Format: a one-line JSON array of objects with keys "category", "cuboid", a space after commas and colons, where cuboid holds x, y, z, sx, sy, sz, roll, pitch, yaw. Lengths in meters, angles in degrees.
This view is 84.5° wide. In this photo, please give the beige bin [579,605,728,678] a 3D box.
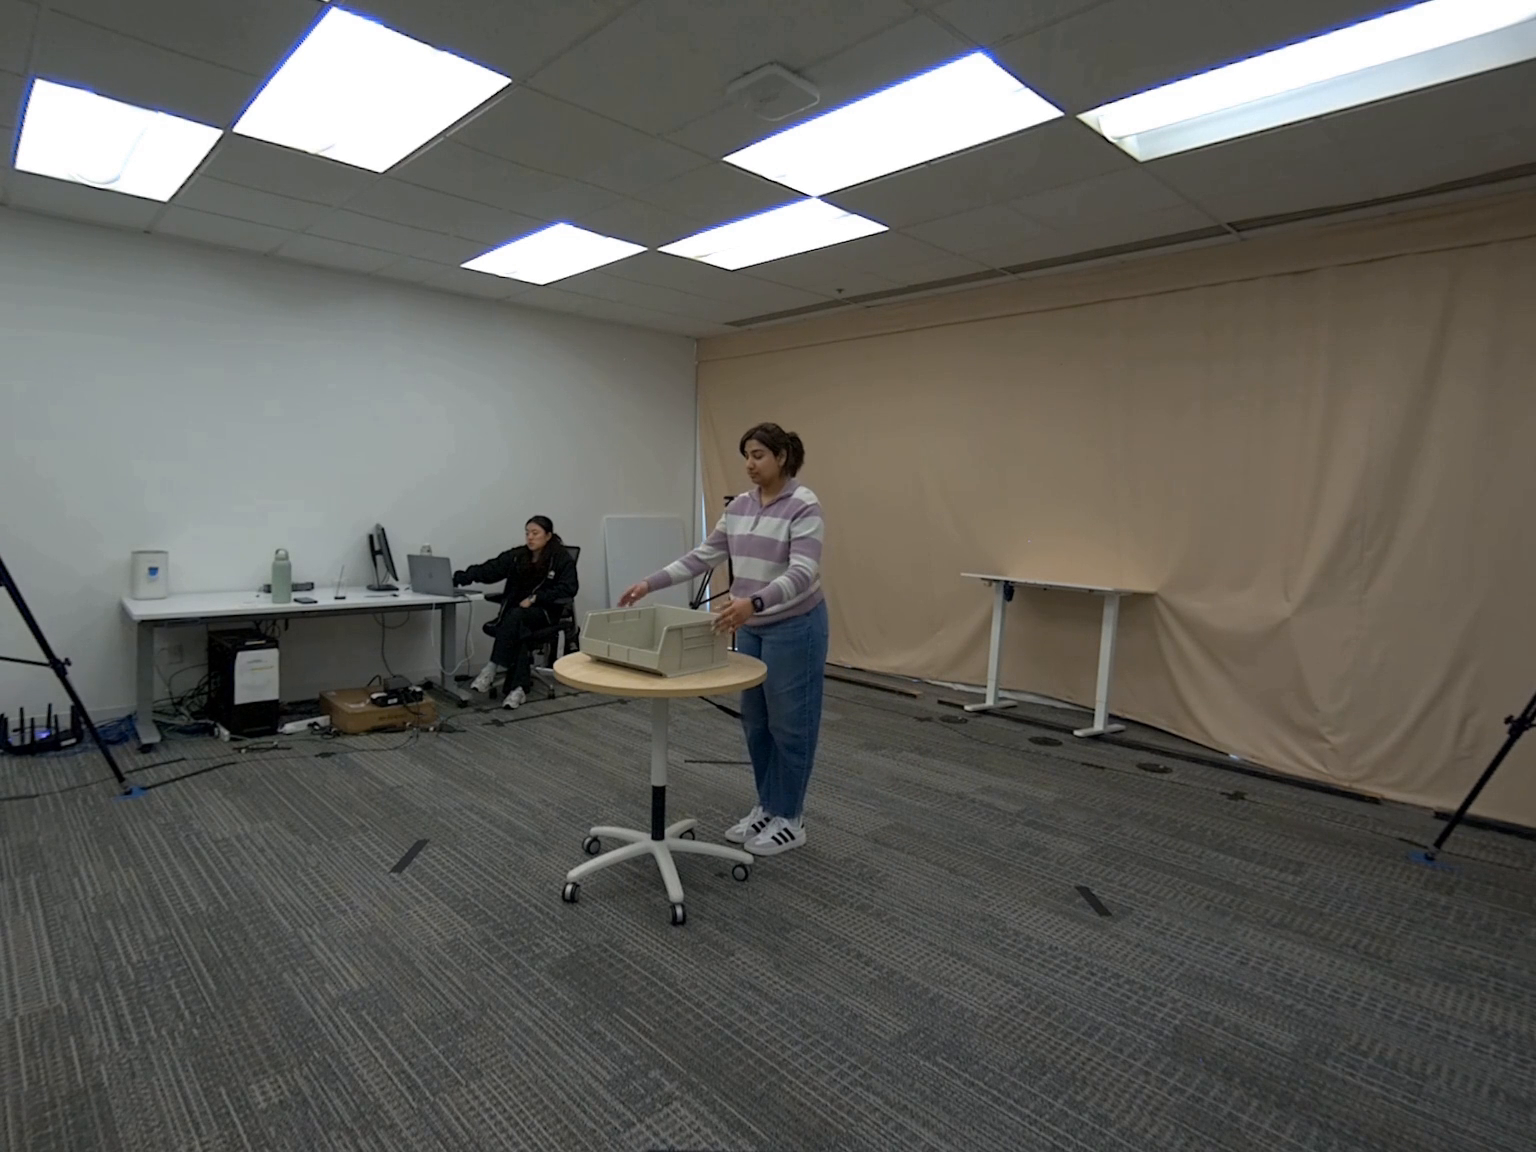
[{"category": "beige bin", "cuboid": [-0.408, 0.230, 3.047, 0.433, 0.188, 0.369, 6, 5, 40]}]
